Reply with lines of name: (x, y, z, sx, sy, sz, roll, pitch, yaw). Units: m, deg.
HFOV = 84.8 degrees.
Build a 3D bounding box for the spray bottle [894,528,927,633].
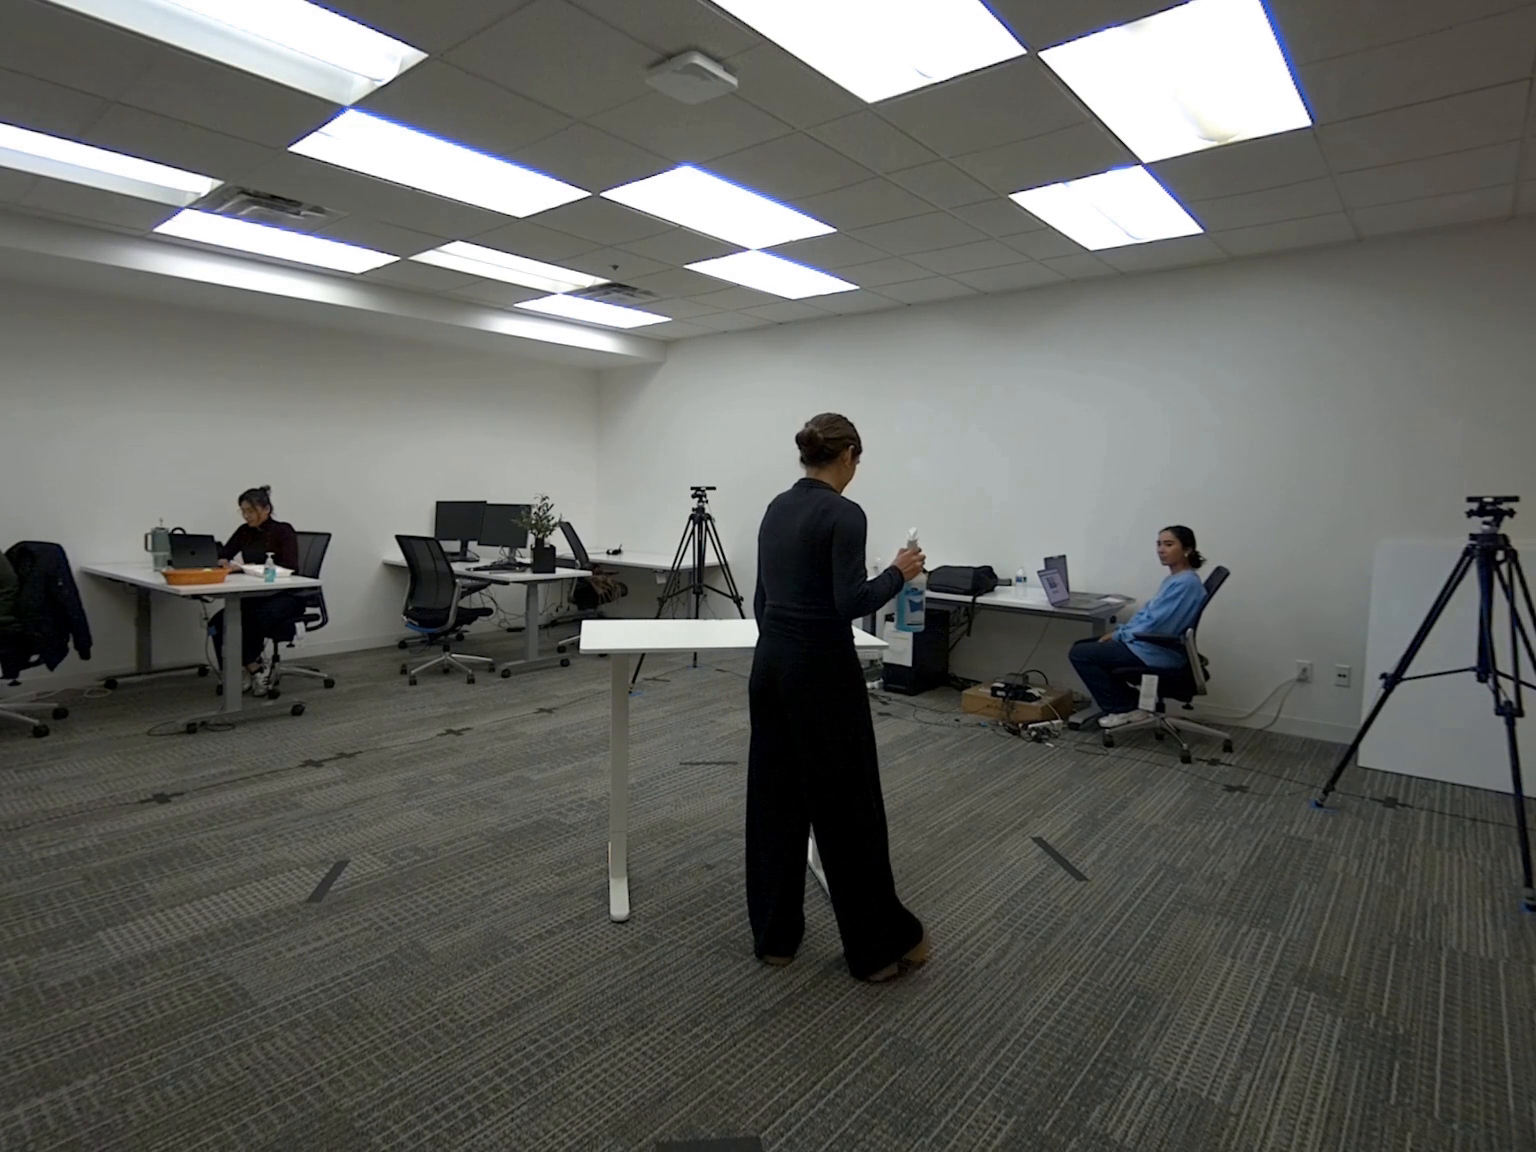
spray bottle: (0.417, 0.011, 2.474, 0.090, 0.296, 0.087, 7, 7, 42)
